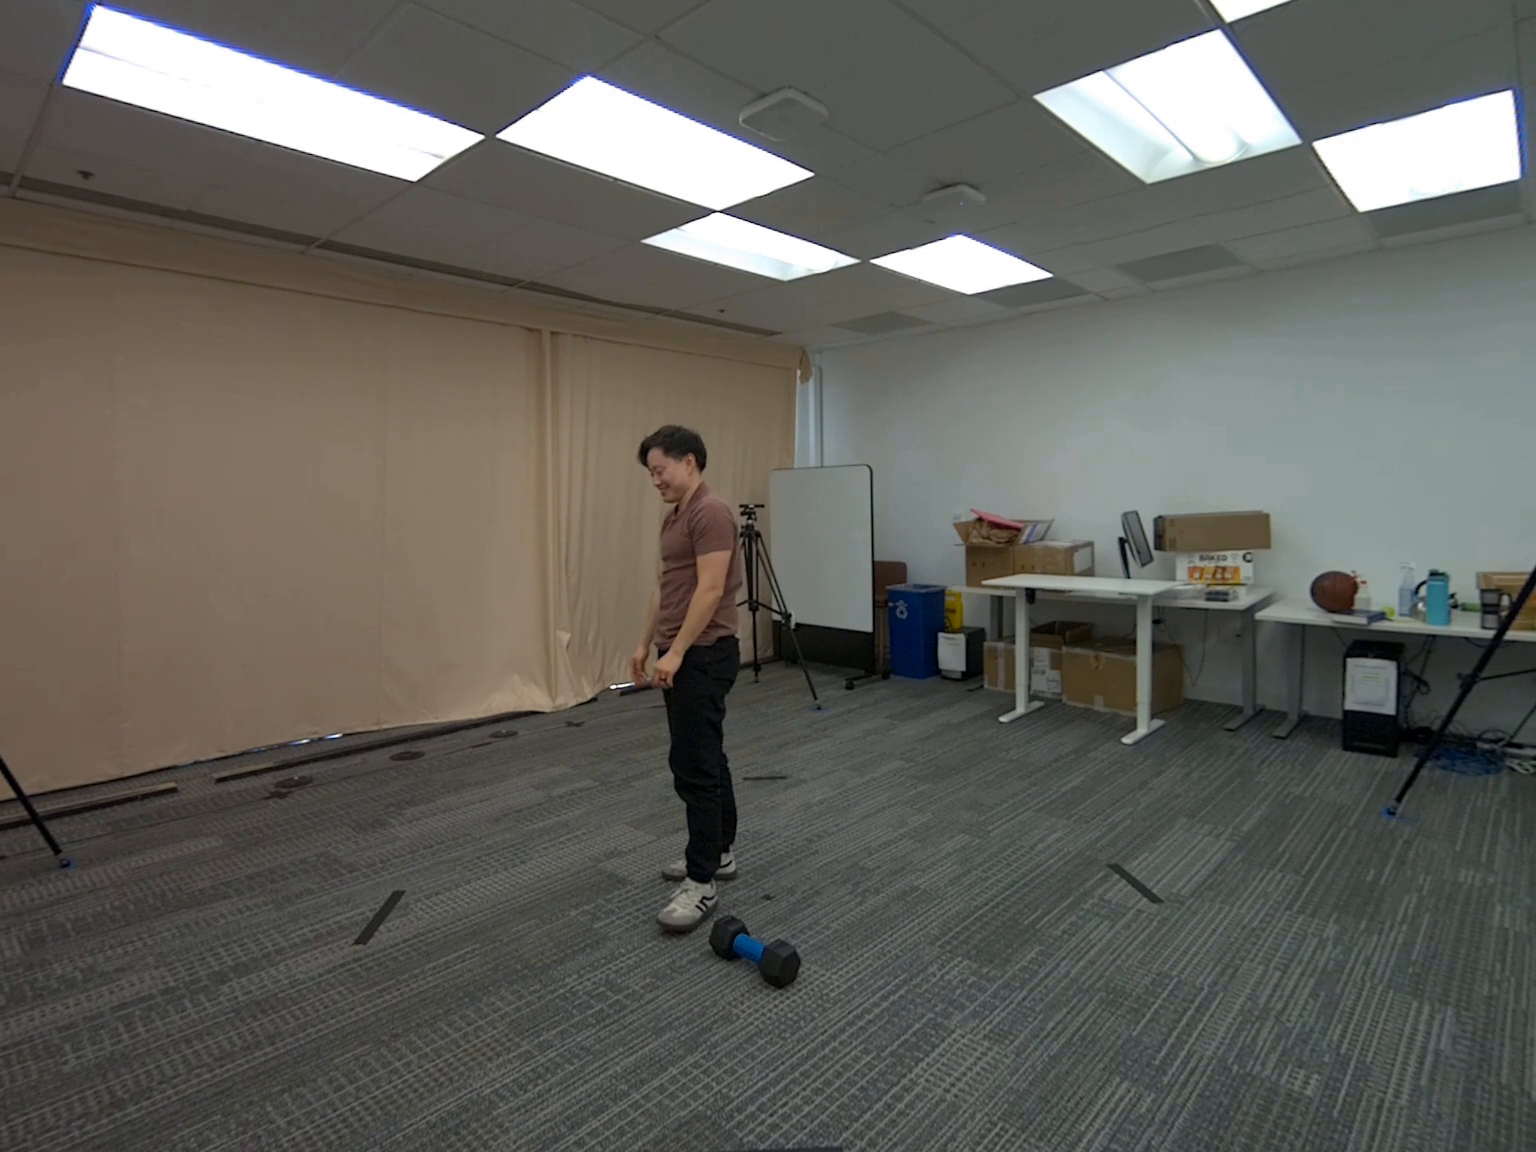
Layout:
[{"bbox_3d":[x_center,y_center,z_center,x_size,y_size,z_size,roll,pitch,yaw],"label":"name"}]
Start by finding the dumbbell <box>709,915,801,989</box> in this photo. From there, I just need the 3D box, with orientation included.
[{"bbox_3d":[-0.038,1.126,2.525,0.303,0.120,0.107,4,36,45],"label":"dumbbell"}]
